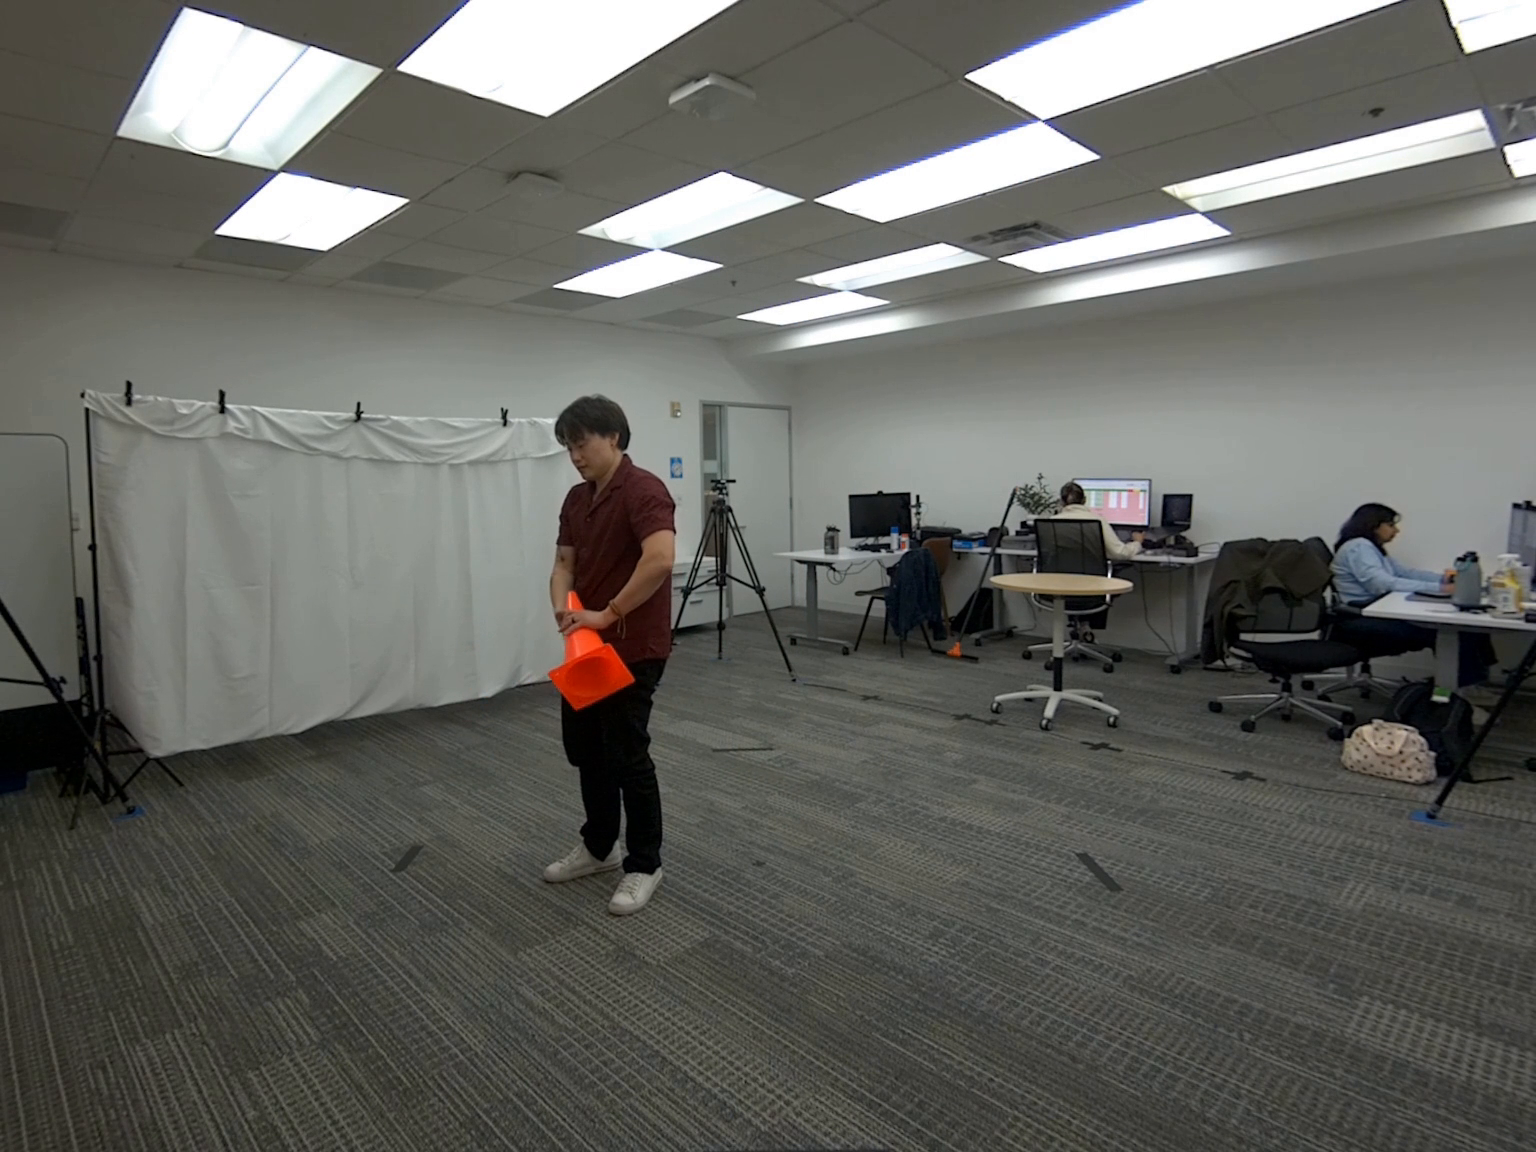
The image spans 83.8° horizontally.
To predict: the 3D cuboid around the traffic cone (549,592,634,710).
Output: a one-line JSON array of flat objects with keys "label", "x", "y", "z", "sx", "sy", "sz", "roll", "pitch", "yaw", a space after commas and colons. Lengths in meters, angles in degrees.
[{"label": "traffic cone", "x": -0.574, "y": 0.185, "z": 2.619, "sx": 0.203, "sy": 0.197, "sz": 0.398, "roll": -26, "pitch": 42, "yaw": 0}]
